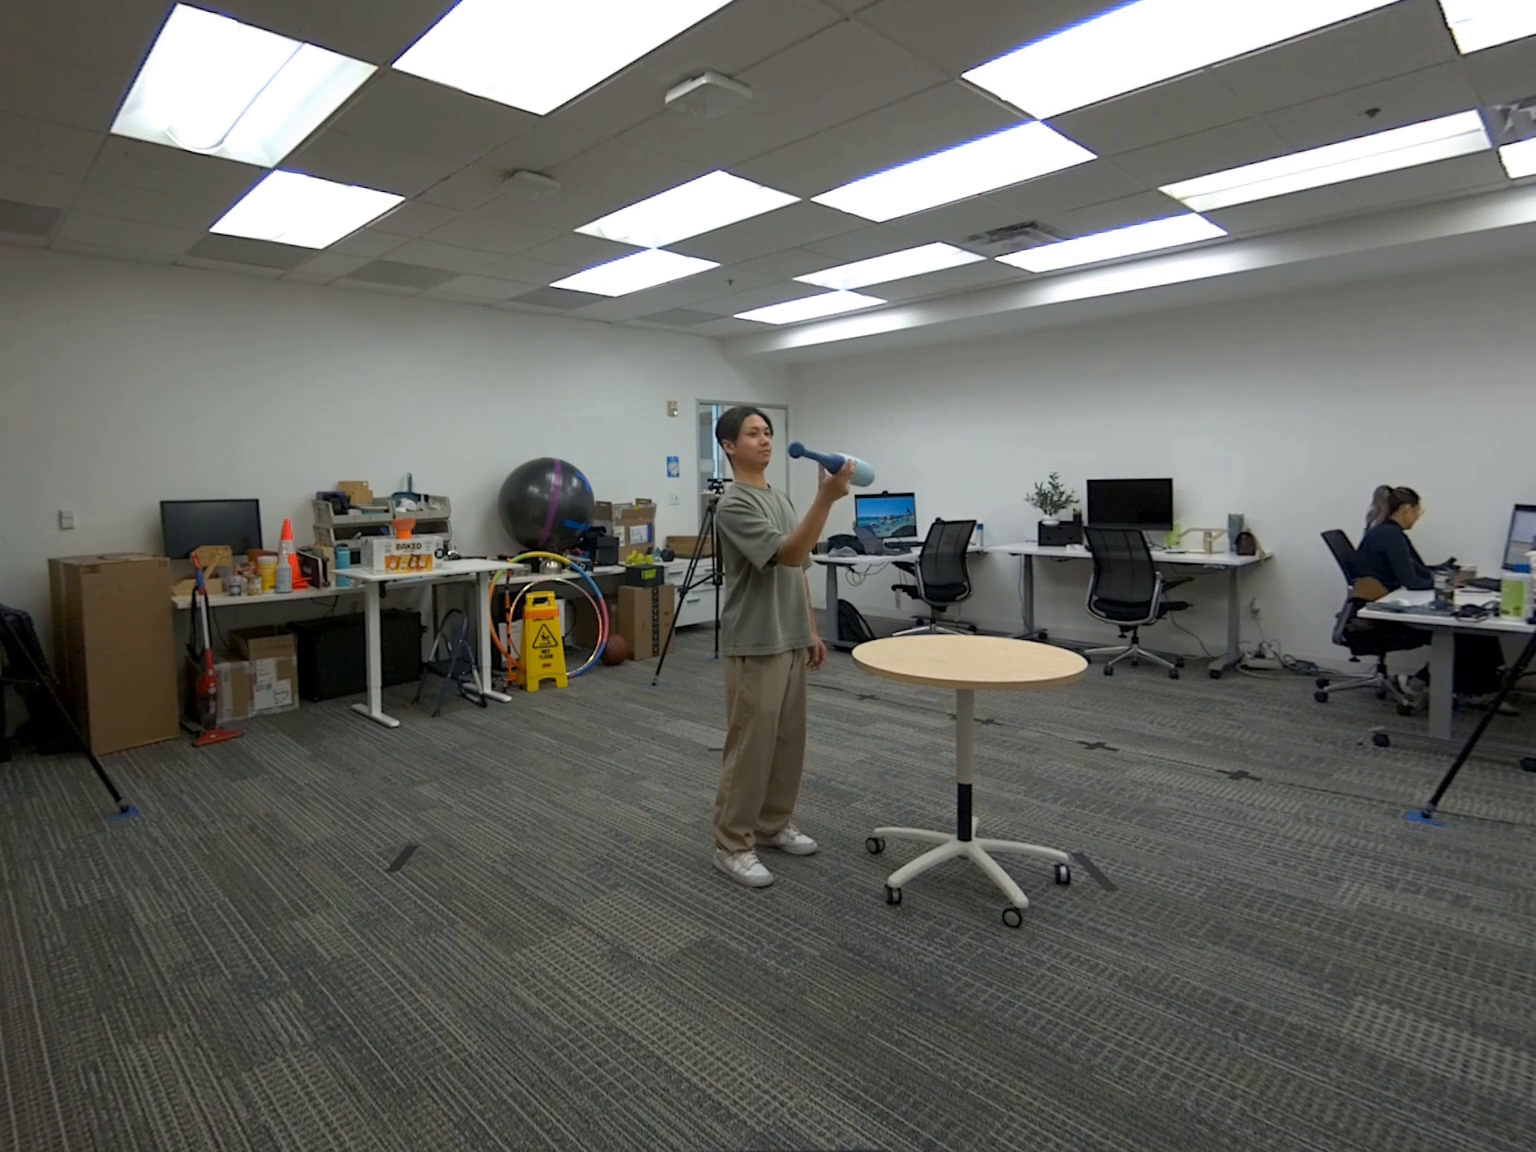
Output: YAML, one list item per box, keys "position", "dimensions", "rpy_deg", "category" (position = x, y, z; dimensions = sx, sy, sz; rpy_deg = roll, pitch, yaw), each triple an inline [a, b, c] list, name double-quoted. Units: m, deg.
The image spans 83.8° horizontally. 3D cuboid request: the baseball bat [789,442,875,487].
- position: [0.214, -0.356, 2.714]
  dimensions: [0.091, 0.089, 0.528]
  rpy_deg: [2, -1, 29]
  category: "baseball bat"
